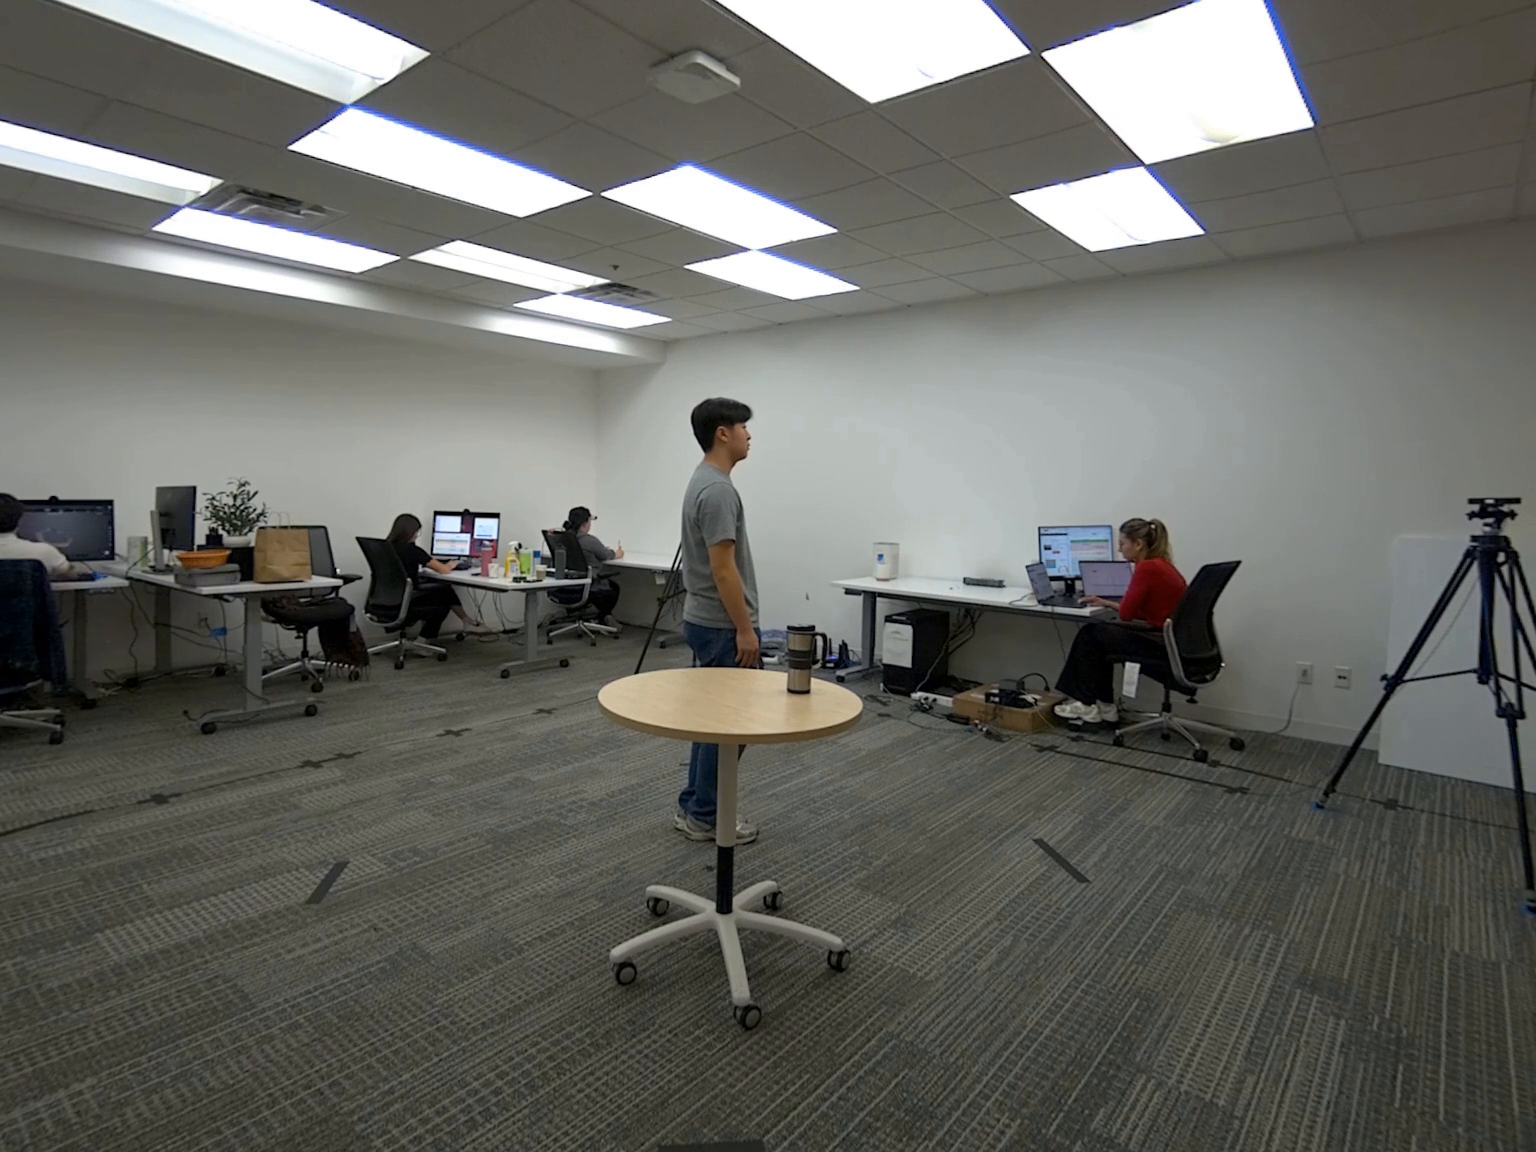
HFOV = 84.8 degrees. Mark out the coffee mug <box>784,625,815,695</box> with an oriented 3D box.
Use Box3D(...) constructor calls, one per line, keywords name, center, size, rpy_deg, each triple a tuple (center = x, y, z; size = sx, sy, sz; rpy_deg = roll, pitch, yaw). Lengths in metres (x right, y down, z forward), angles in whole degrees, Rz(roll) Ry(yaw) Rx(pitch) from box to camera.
Box3D(name="coffee mug", center=(0.109, 0.249, 2.525), size=(0.126, 0.203, 0.085), rpy_deg=(1, 1, 39))
